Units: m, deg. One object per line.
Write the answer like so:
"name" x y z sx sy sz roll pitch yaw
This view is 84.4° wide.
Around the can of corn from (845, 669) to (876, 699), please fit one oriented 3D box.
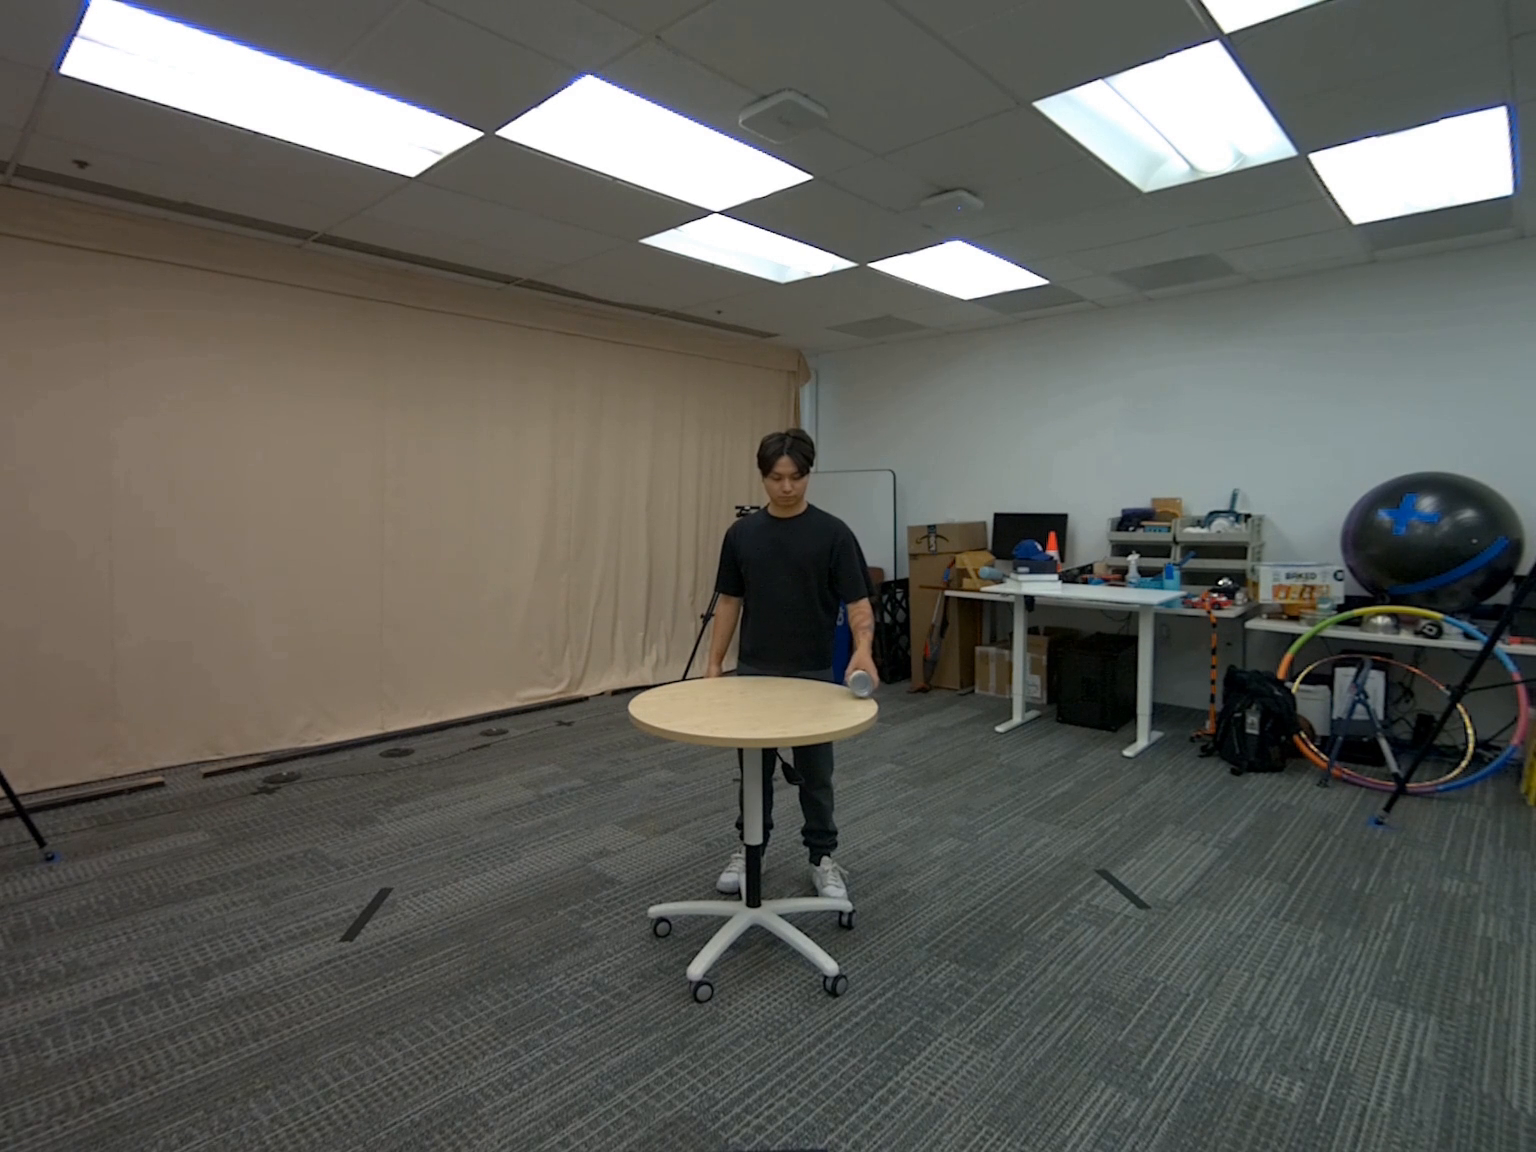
"can of corn" 0.286 0.334 2.689 0.074 0.074 0.112 0 4 -5
